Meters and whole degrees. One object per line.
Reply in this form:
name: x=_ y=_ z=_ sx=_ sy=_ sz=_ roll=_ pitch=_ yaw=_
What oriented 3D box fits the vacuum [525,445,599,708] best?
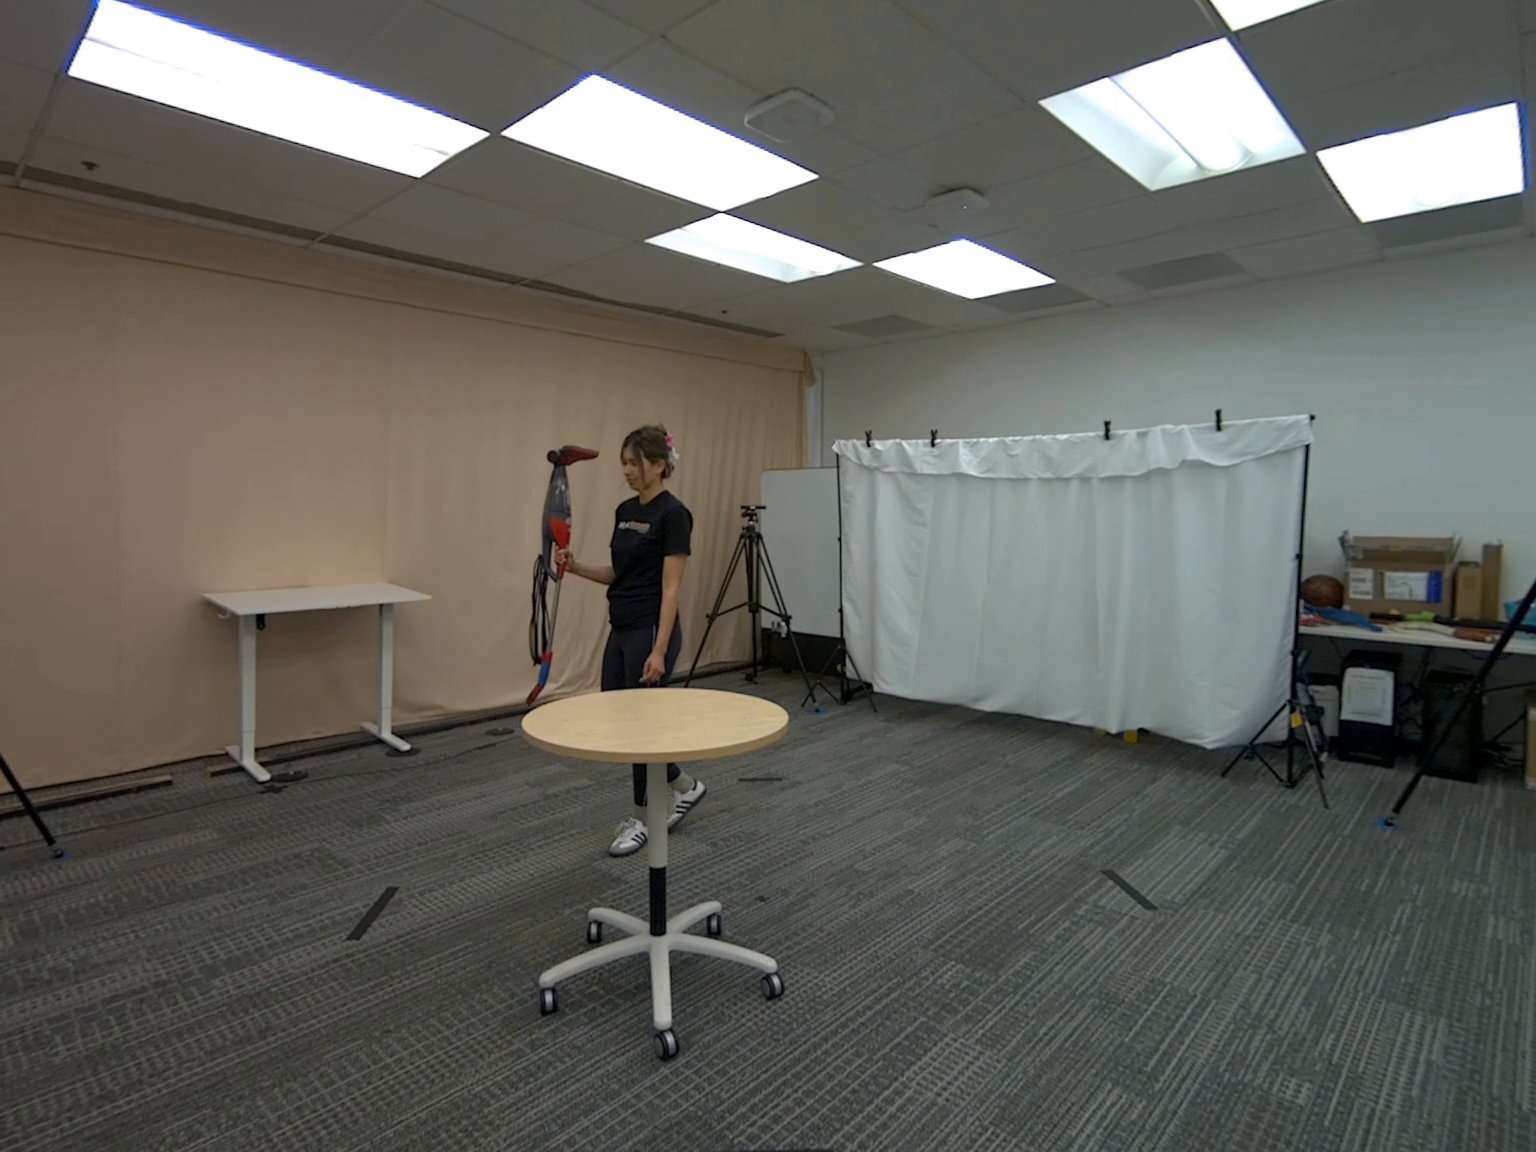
vacuum: x=-0.895 y=0.016 z=3.431 sx=0.147 sy=1.047 sz=0.248 roll=11 pitch=5 yaw=14
